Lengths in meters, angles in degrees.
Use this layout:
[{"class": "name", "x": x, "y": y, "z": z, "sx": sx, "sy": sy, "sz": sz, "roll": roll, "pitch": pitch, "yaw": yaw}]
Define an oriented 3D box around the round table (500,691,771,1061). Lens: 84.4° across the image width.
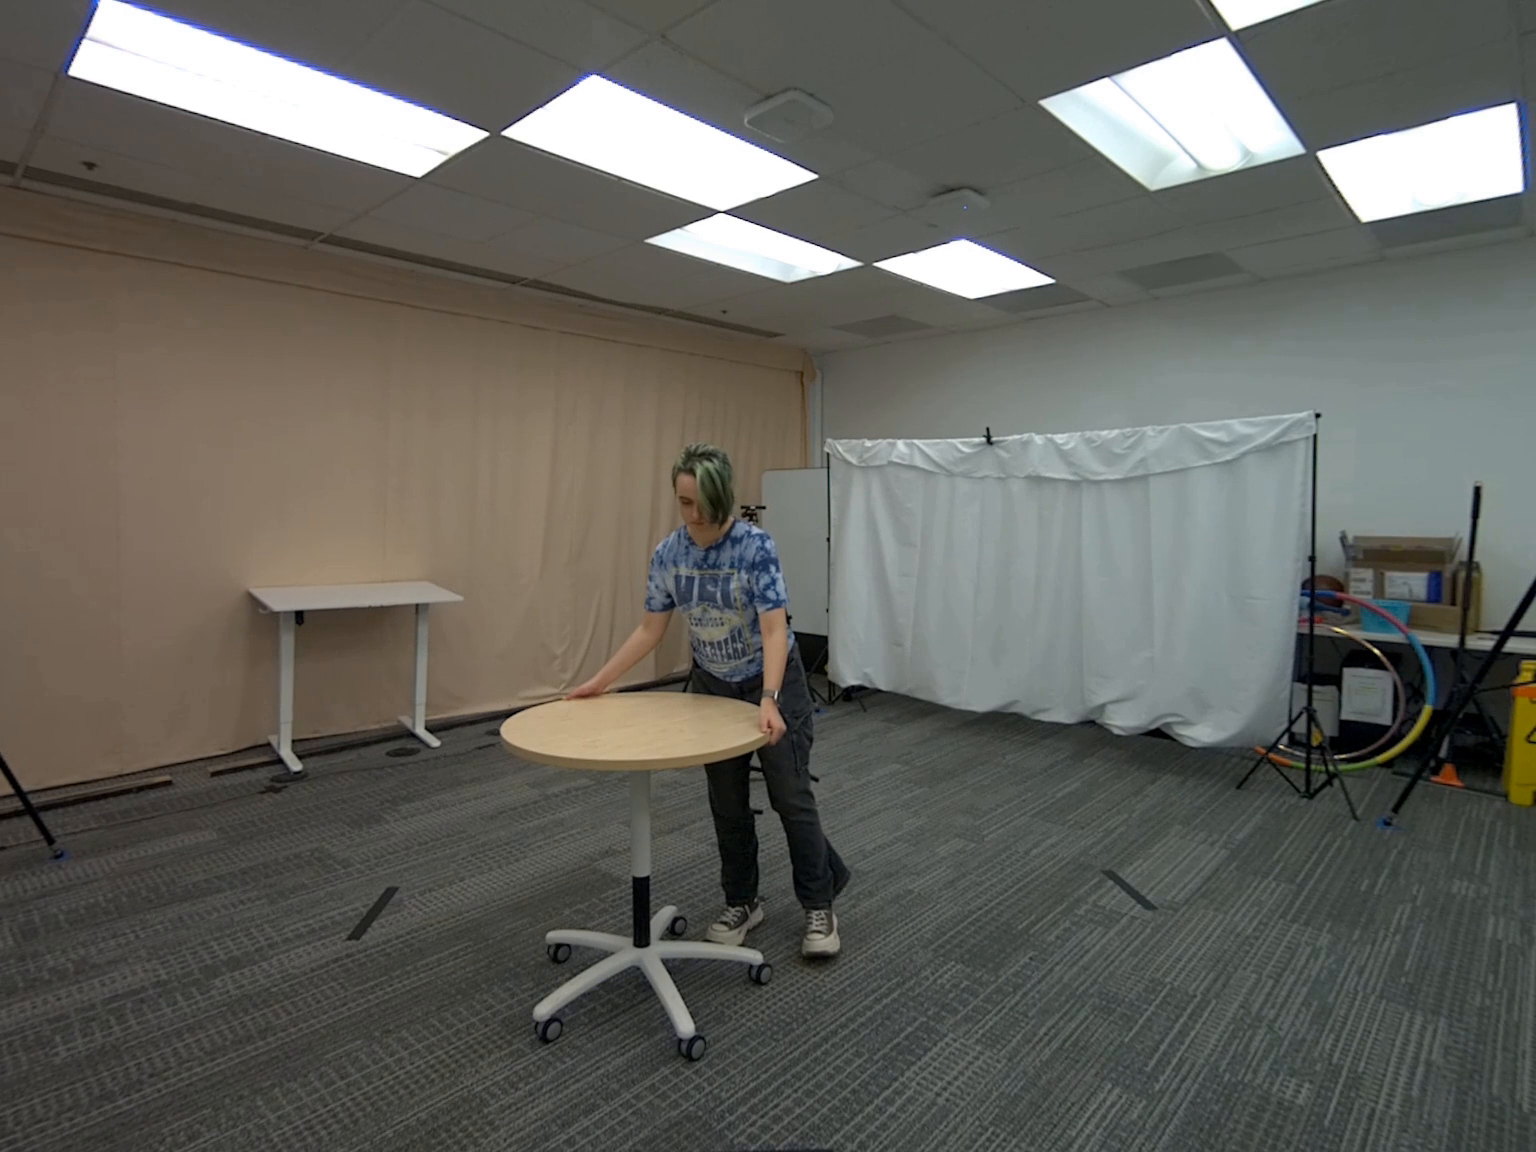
[{"class": "round table", "x": -0.364, "y": 0.807, "z": 2.391, "sx": 0.763, "sy": 0.792, "sz": 0.766, "roll": -1, "pitch": 4, "yaw": -2}]
